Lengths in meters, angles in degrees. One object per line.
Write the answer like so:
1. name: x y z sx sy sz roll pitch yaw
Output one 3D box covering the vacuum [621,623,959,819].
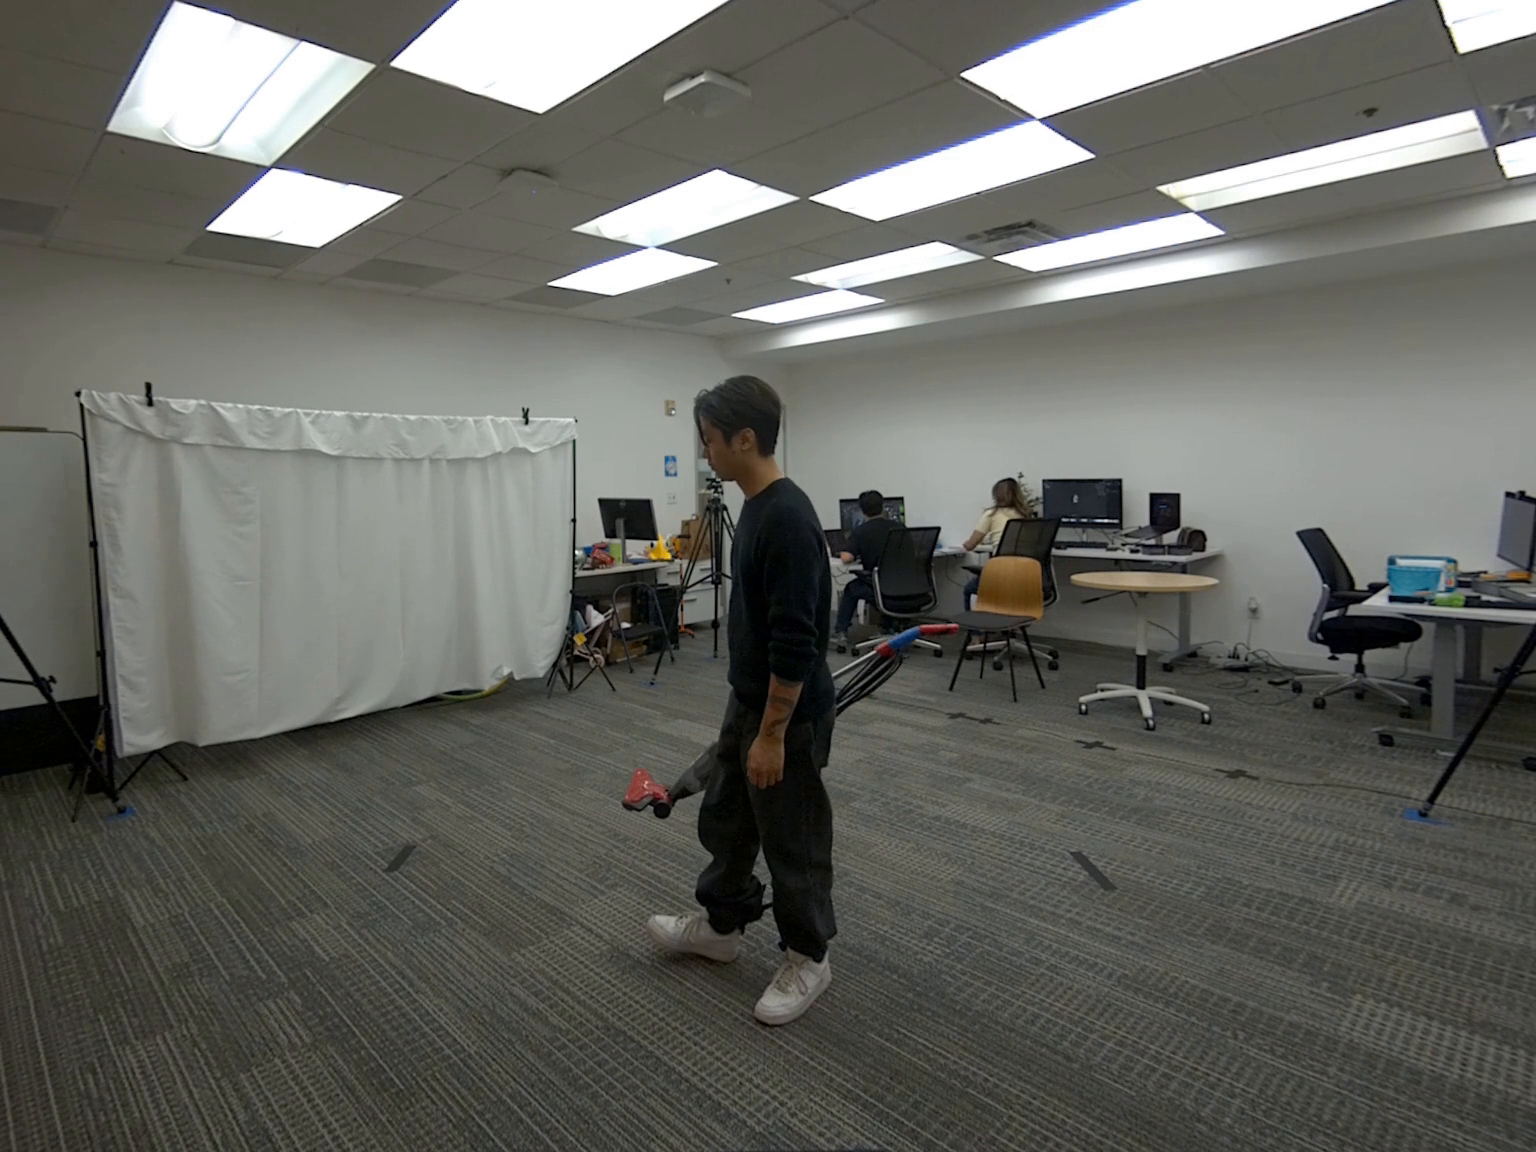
1. vacuum: 0.082 0.422 2.530 1.051 0.142 0.256 -31 12 5
